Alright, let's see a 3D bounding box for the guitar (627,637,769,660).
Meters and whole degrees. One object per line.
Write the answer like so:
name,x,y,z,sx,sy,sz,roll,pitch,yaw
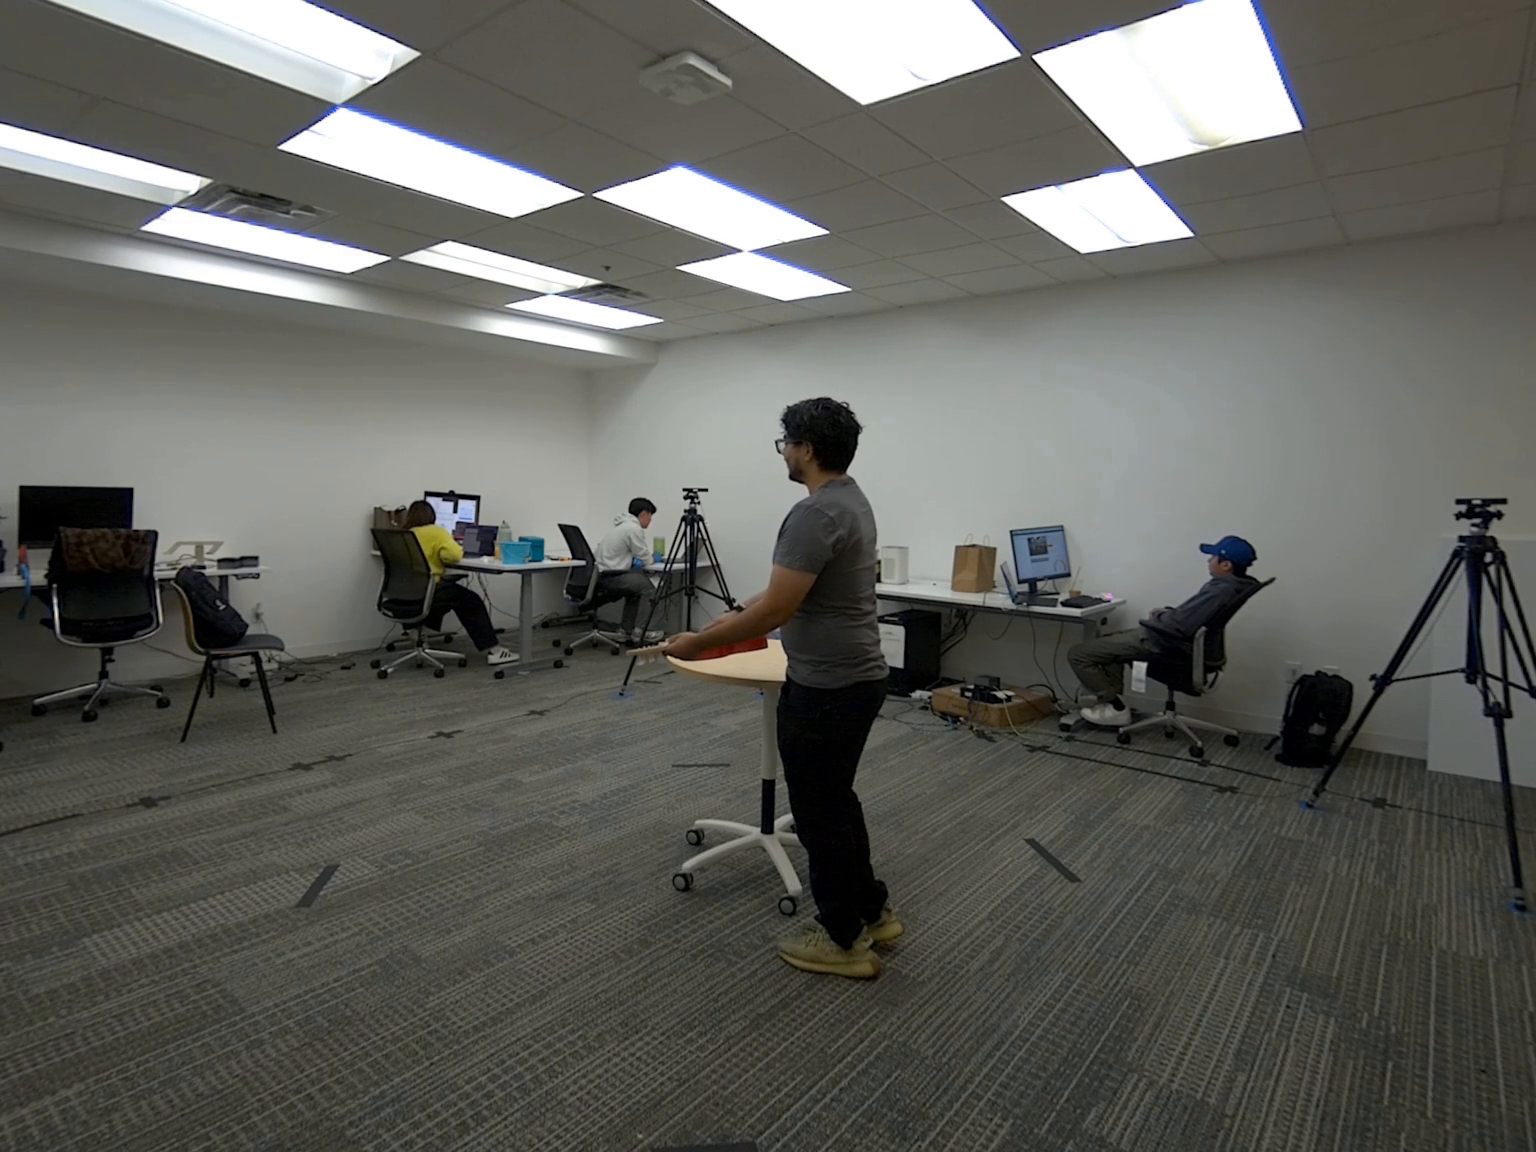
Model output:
guitar,-0.252,0.220,2.578,0.485,0.071,0.198,-6,1,-32
